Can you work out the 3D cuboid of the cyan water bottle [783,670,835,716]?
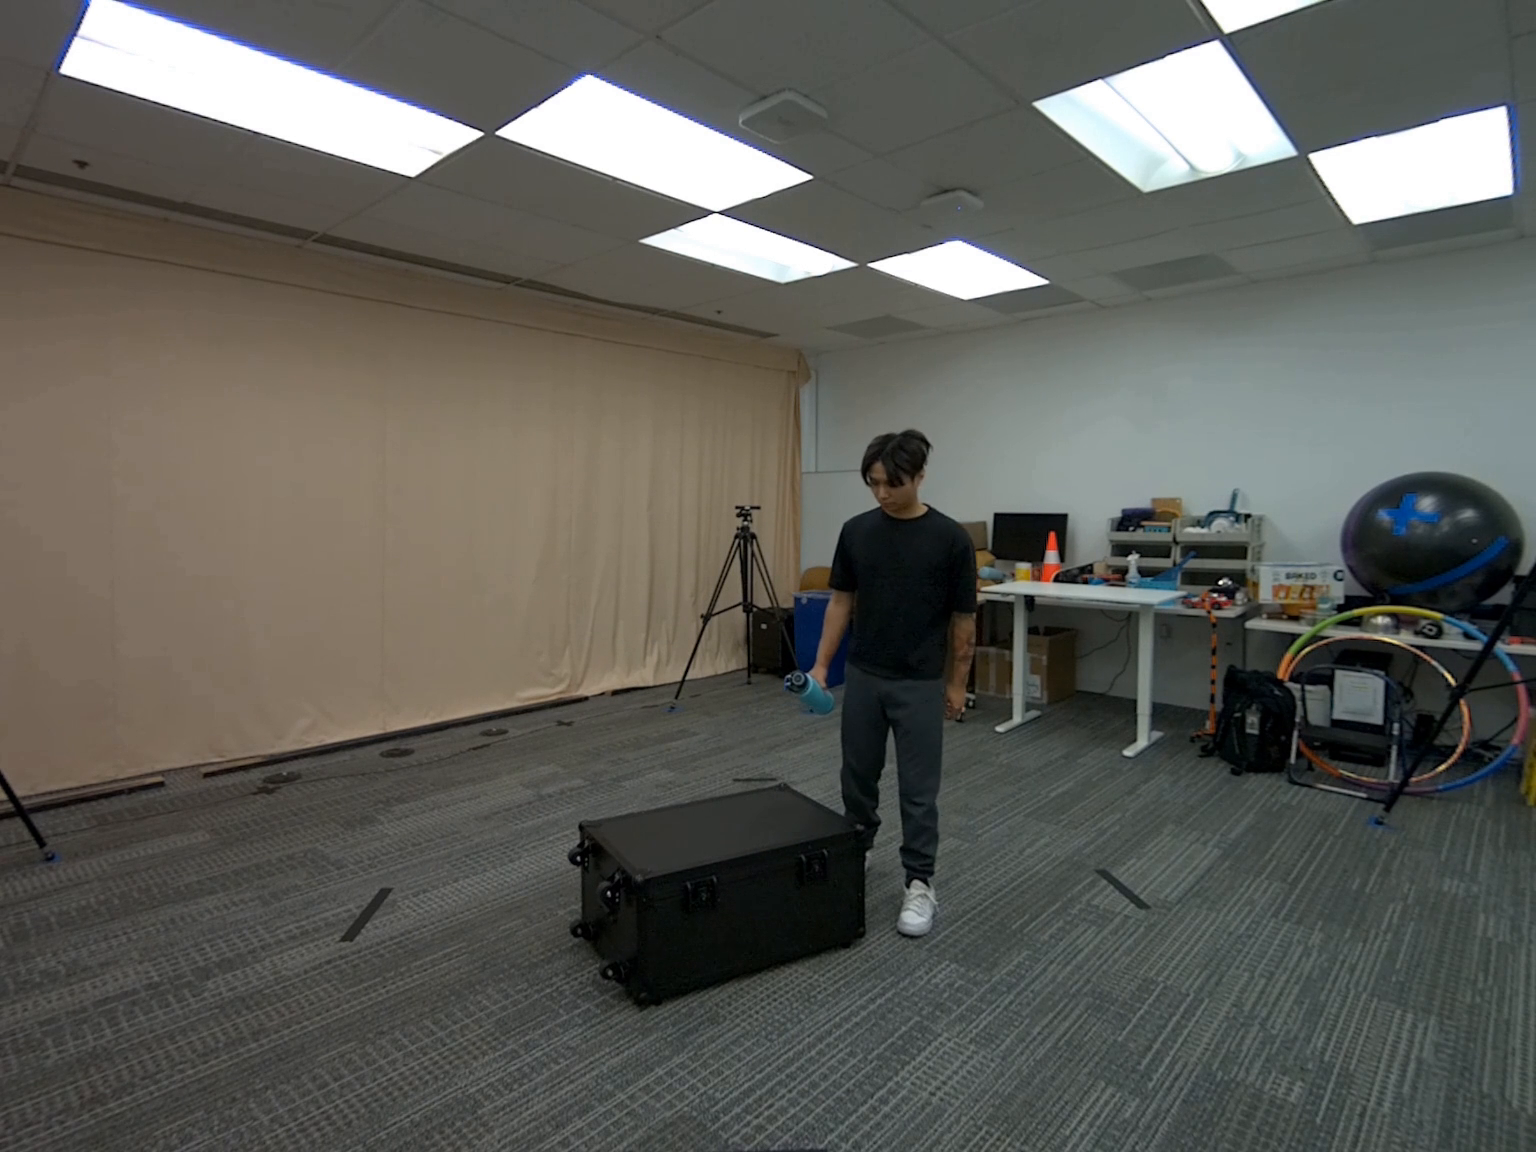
[{"bbox_3d":[0.156,0.423,3.027,0.095,0.093,0.273,3,-24,32],"label":"cyan water bottle"}]
